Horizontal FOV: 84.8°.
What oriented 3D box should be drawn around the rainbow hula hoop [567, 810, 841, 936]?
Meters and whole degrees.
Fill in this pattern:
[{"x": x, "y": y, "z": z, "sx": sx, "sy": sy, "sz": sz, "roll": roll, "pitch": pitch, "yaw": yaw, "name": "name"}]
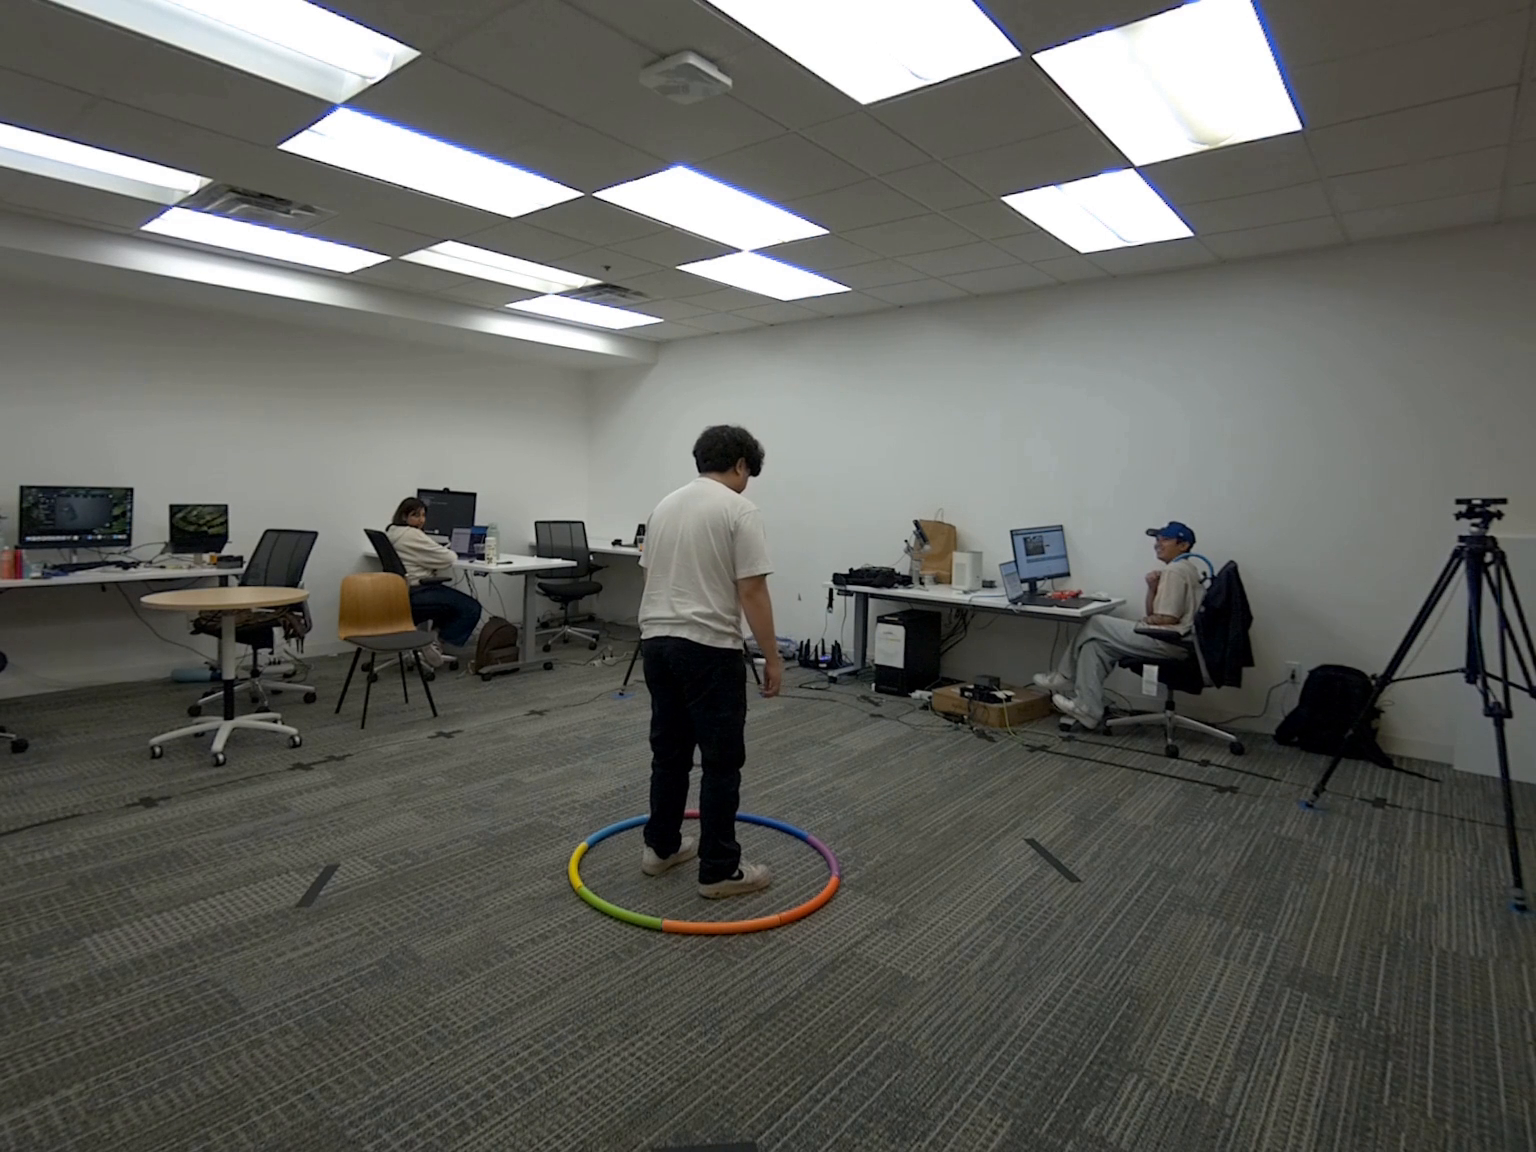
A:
[{"x": -0.244, "y": 1.043, "z": 3.125, "sx": 0.984, "sy": 0.051, "sz": 0.991, "roll": 1, "pitch": 6, "yaw": -2, "name": "rainbow hula hoop"}]
